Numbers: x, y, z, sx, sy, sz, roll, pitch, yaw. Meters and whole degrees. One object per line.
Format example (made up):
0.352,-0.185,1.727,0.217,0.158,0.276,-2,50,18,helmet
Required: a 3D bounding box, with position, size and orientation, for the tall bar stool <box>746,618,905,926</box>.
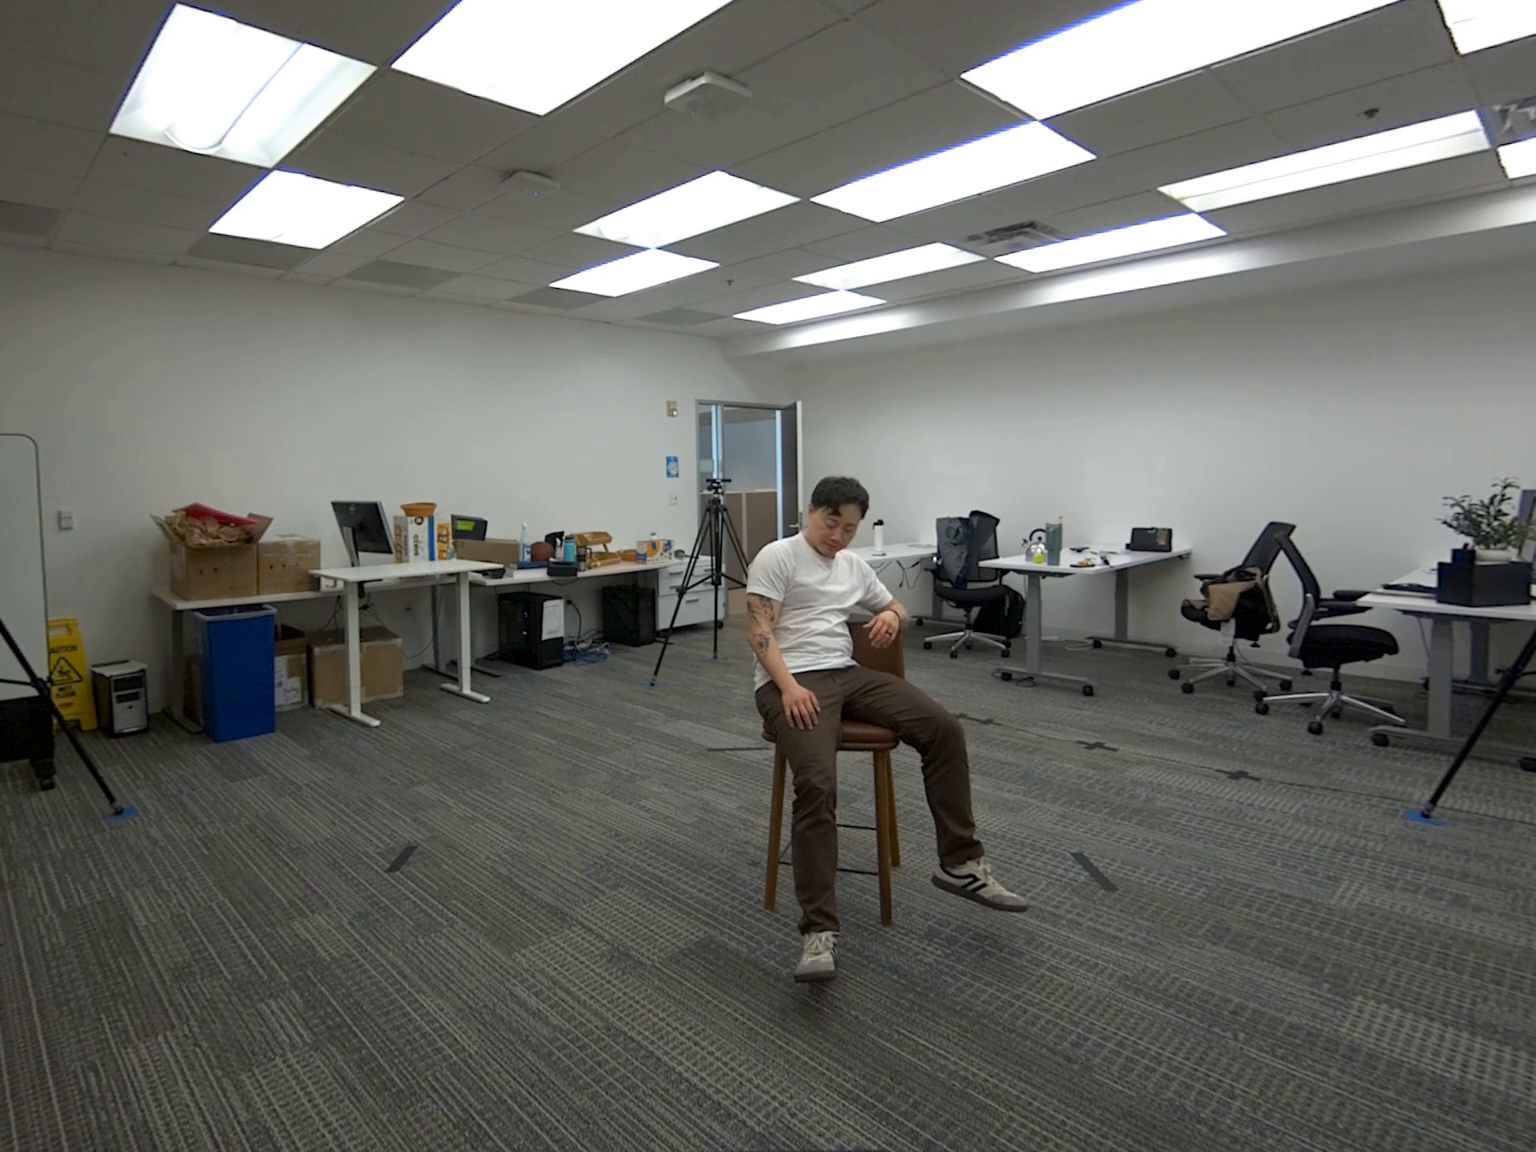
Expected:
0.242,0.634,2.906,0.464,0.888,0.461,1,3,17,tall bar stool
